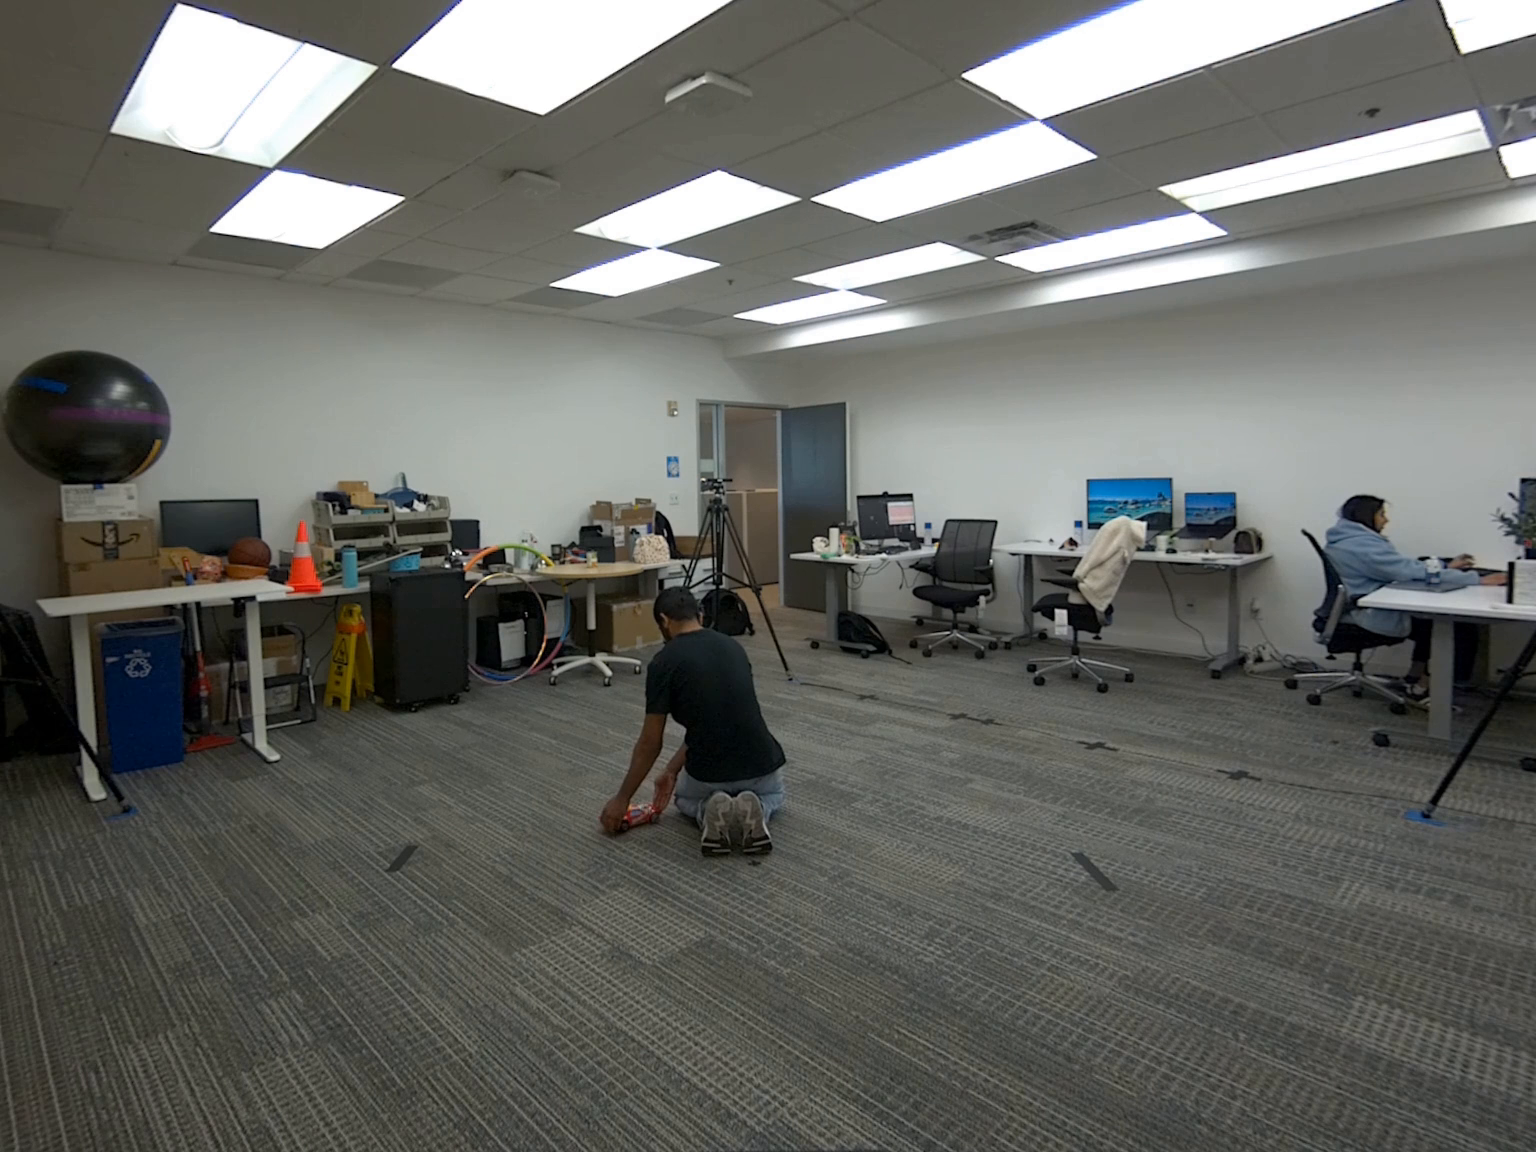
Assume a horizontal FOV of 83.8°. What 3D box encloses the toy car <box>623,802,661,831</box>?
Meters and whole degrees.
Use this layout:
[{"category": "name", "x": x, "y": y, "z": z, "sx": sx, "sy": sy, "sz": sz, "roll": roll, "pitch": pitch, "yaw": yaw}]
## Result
[{"category": "toy car", "x": -0.567, "y": 0.971, "z": 3.478, "sx": 0.247, "sy": 0.083, "sz": 0.134, "roll": 7, "pitch": 0, "yaw": -36}]
